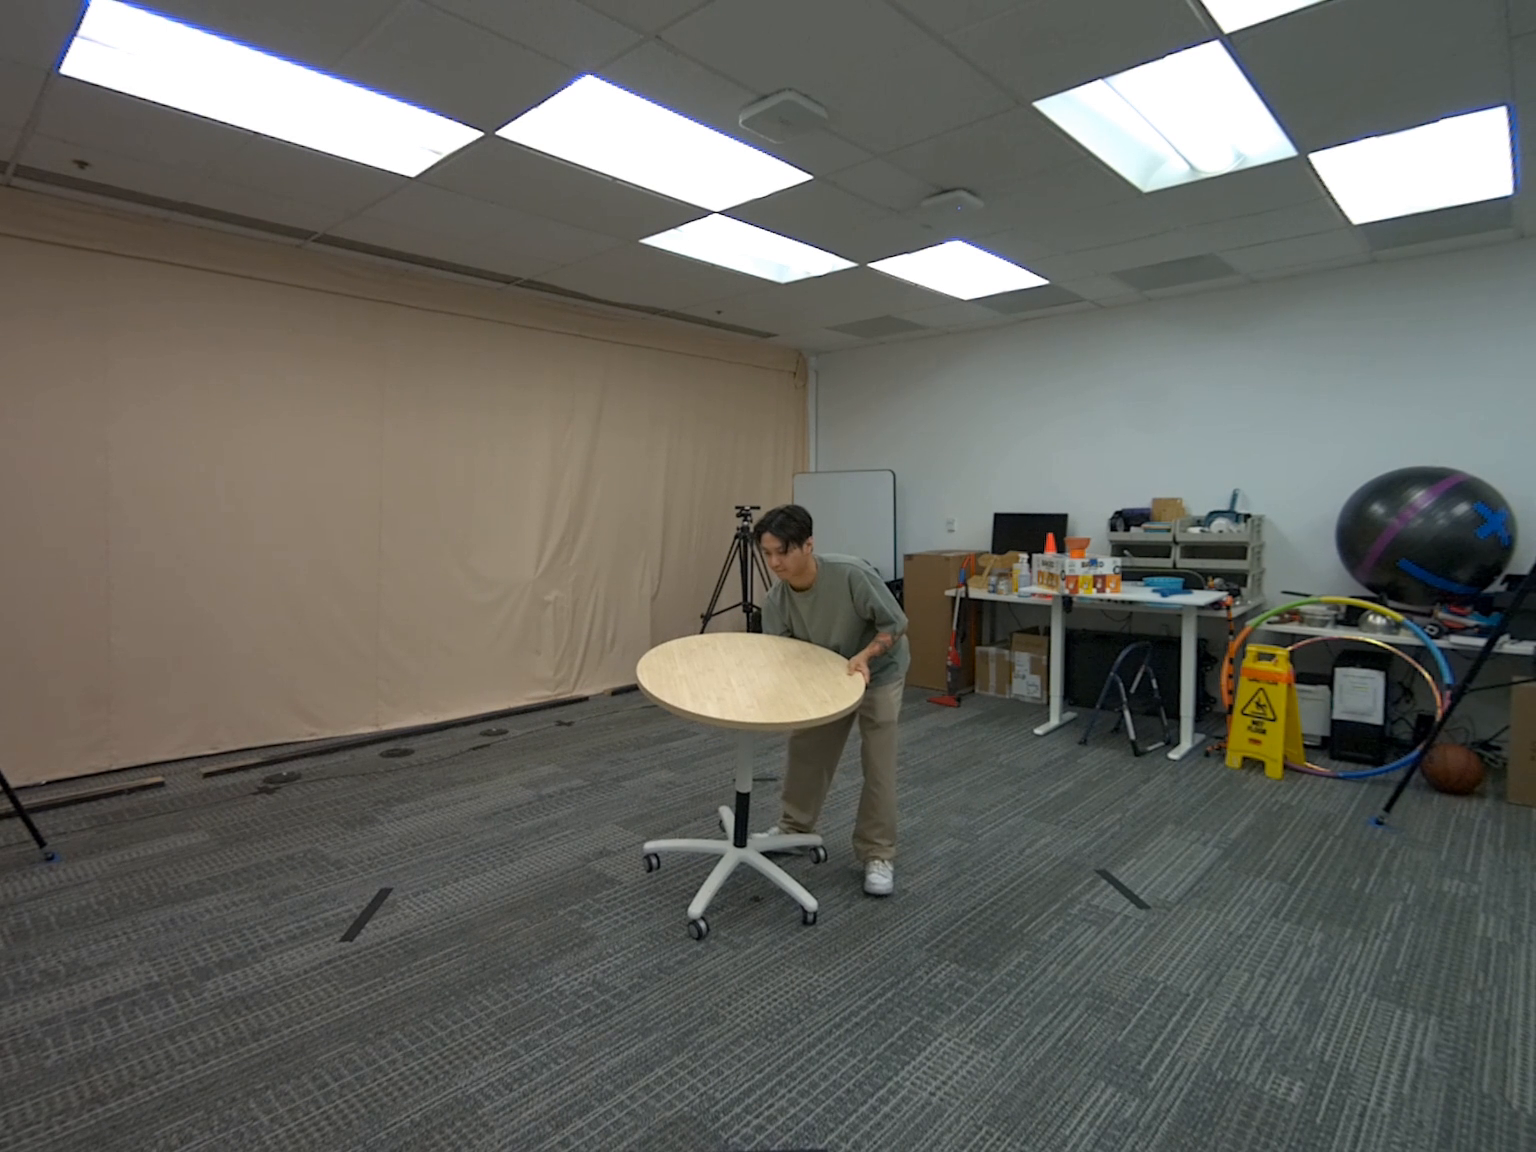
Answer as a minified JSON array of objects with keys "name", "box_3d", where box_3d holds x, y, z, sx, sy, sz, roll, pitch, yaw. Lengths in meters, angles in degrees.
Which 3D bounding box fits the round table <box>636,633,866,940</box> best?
[{"name":"round table","box_3d":[-0.073,0.707,2.910,0.784,0.780,0.793,2,15,-2]}]
